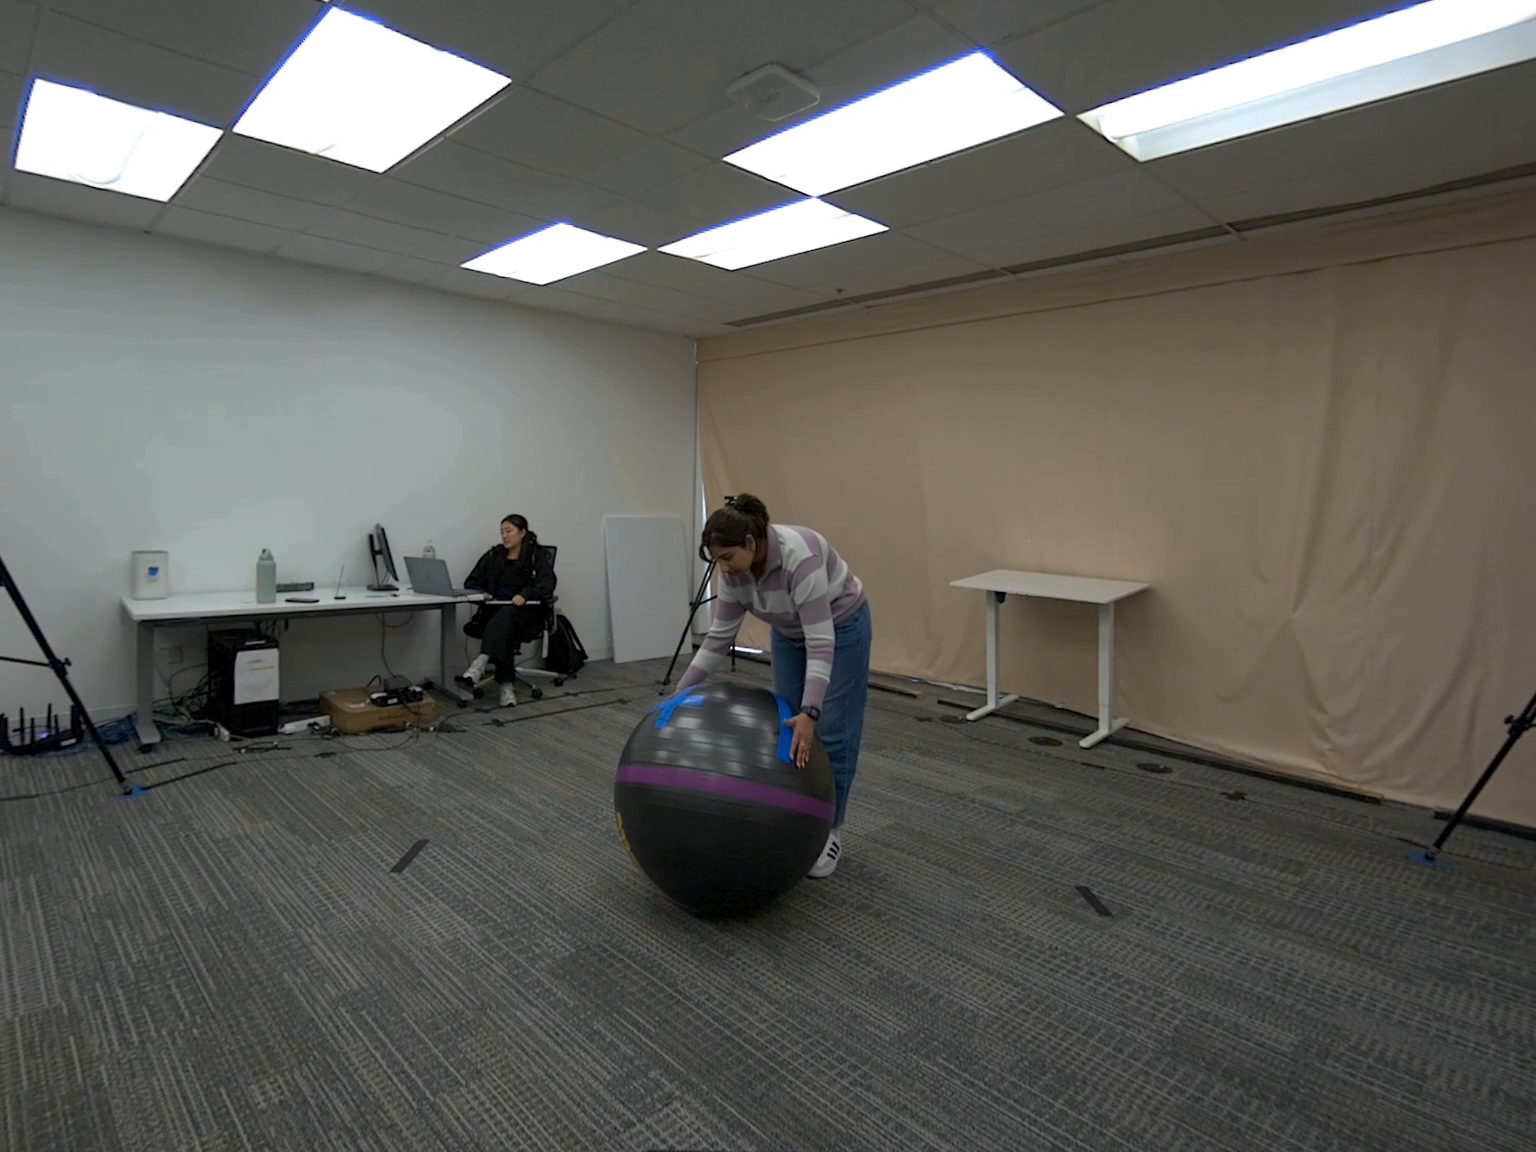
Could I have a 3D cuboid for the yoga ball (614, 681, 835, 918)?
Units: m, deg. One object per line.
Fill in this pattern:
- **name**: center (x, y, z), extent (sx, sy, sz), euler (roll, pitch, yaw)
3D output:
- **yoga ball**: center (-0.159, 0.761, 2.917), extent (0.757, 0.756, 0.761), euler (1, 4, -1)
